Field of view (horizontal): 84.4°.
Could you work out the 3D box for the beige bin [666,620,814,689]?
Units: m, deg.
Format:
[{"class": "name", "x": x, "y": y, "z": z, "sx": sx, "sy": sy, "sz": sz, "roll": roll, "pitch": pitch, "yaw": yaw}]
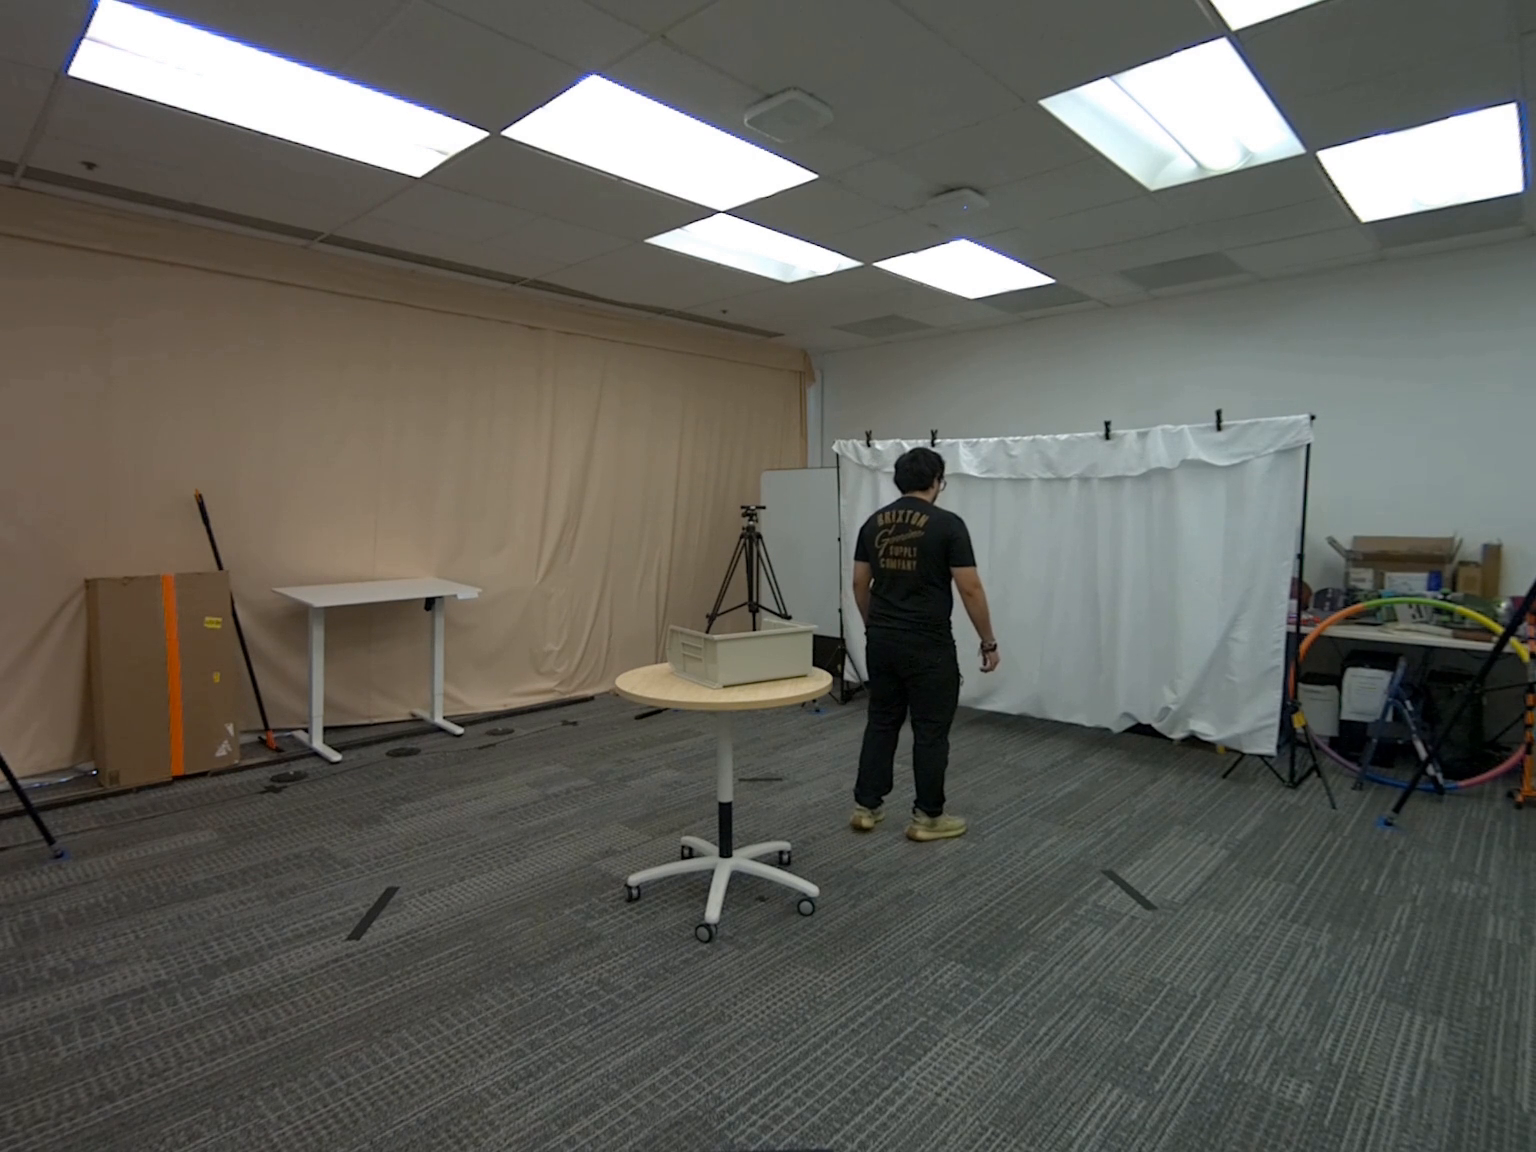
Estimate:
[{"class": "beige bin", "x": -0.099, "y": 0.265, "z": 3.034, "sx": 0.411, "sy": 0.188, "sz": 0.389, "roll": -2, "pitch": 6, "yaw": -31}]
